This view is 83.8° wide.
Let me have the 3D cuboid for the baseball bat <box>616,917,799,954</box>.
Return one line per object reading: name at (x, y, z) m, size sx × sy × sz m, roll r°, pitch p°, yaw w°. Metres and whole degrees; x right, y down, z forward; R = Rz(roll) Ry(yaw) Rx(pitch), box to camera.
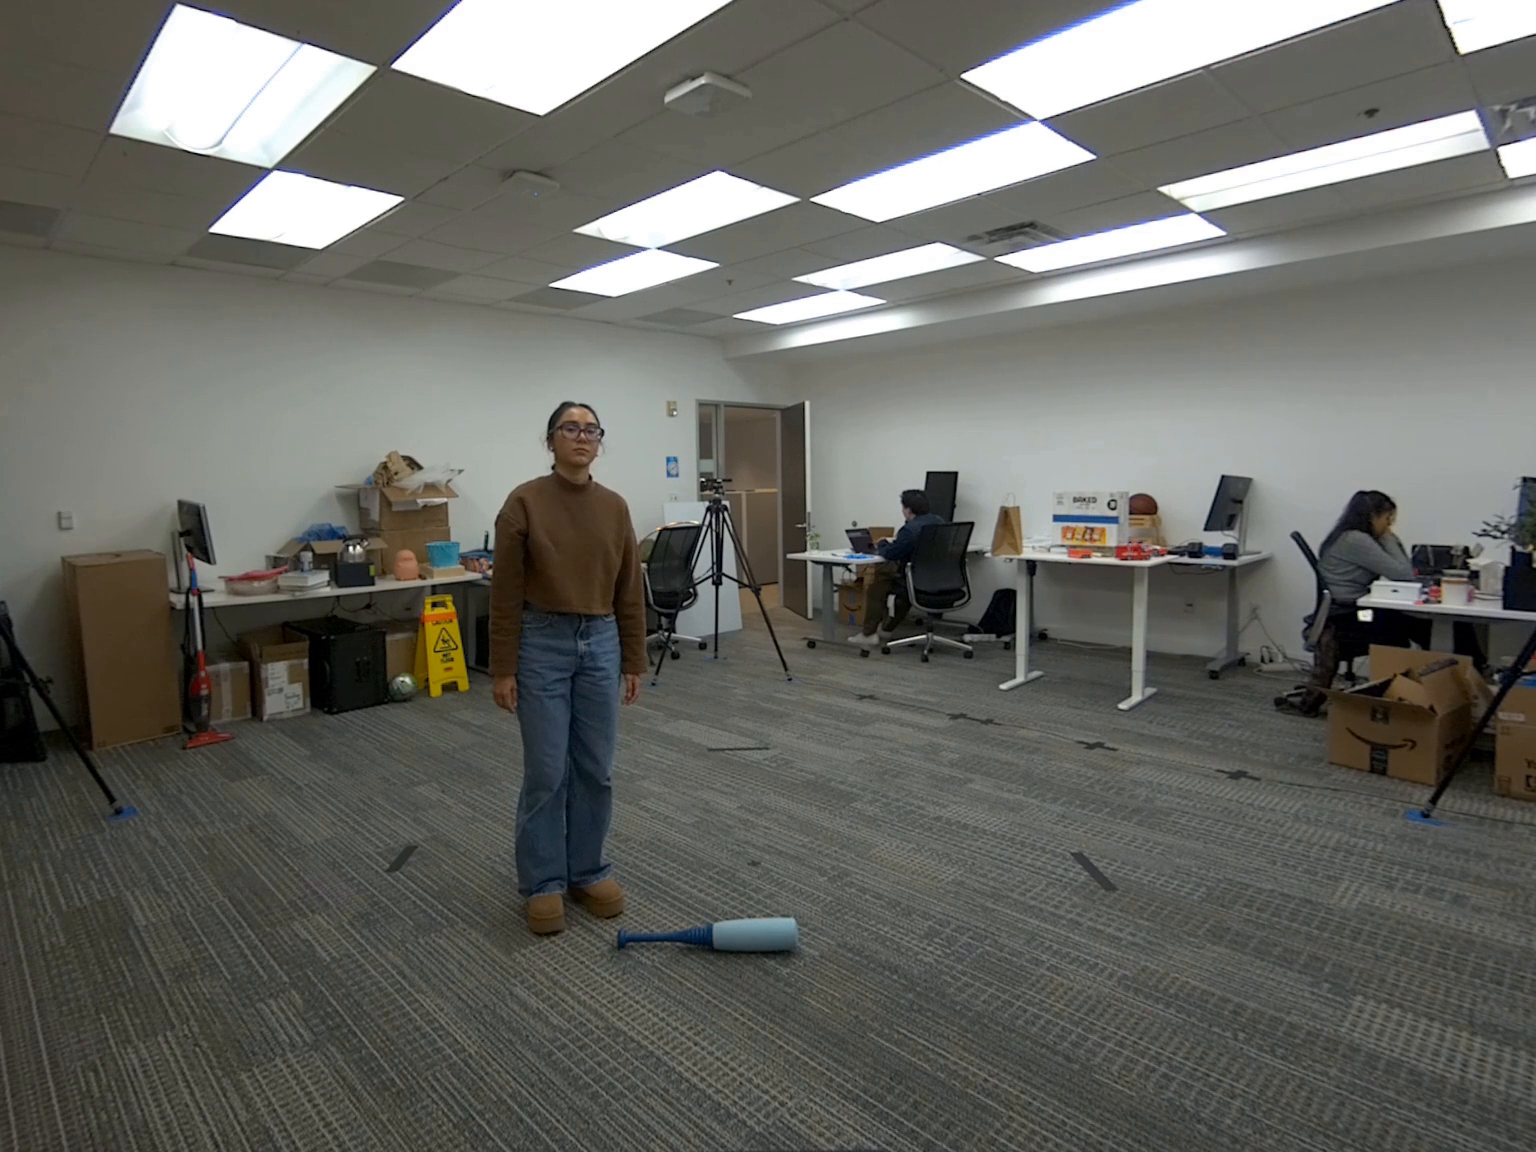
baseball bat at (-0.178, 1.073, 2.548) m, size 0.545 × 0.089 × 0.089 m, roll -3°, pitch 5°, yaw 4°
